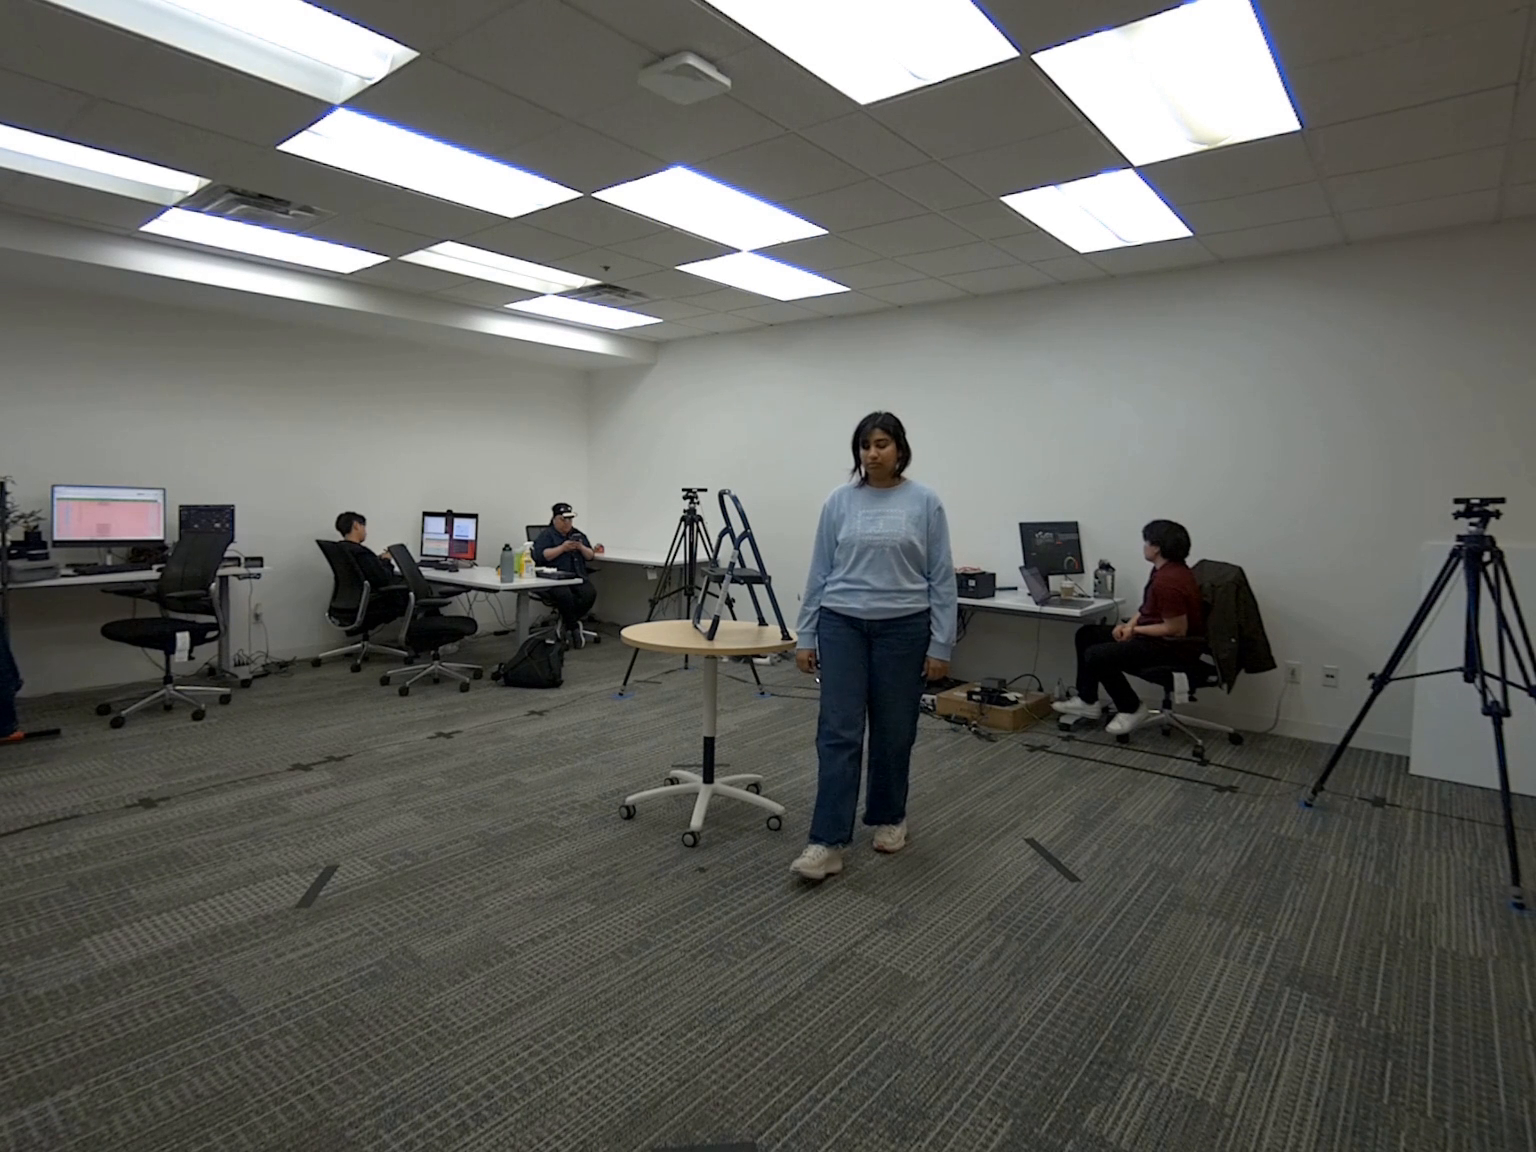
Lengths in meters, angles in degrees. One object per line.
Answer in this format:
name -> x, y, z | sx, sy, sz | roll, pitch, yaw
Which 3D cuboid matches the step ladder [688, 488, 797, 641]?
step ladder -> -0.123, -0.066, 3.615 | 0.344, 0.605, 0.438 | 2, 3, -13
